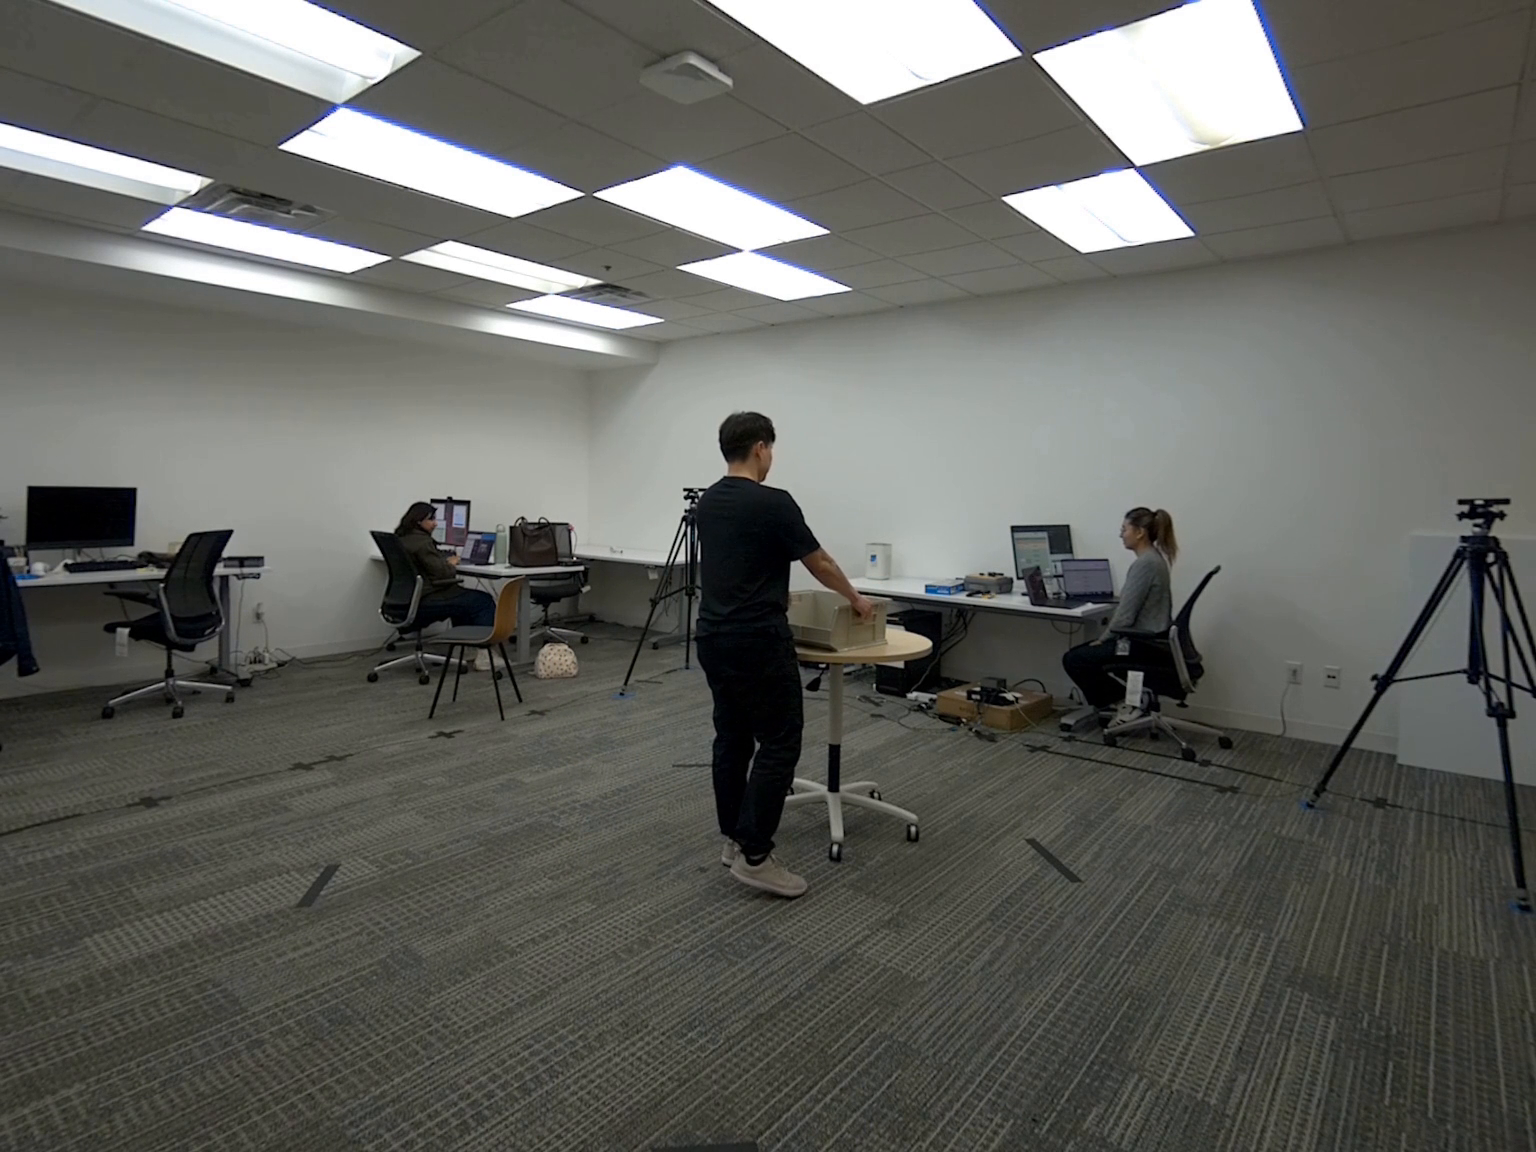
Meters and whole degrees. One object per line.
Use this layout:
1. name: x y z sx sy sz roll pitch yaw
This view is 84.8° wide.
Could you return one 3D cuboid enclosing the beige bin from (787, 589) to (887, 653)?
1. beige bin: 0.211 0.170 3.447 0.366 0.188 0.437 -3 6 -45
